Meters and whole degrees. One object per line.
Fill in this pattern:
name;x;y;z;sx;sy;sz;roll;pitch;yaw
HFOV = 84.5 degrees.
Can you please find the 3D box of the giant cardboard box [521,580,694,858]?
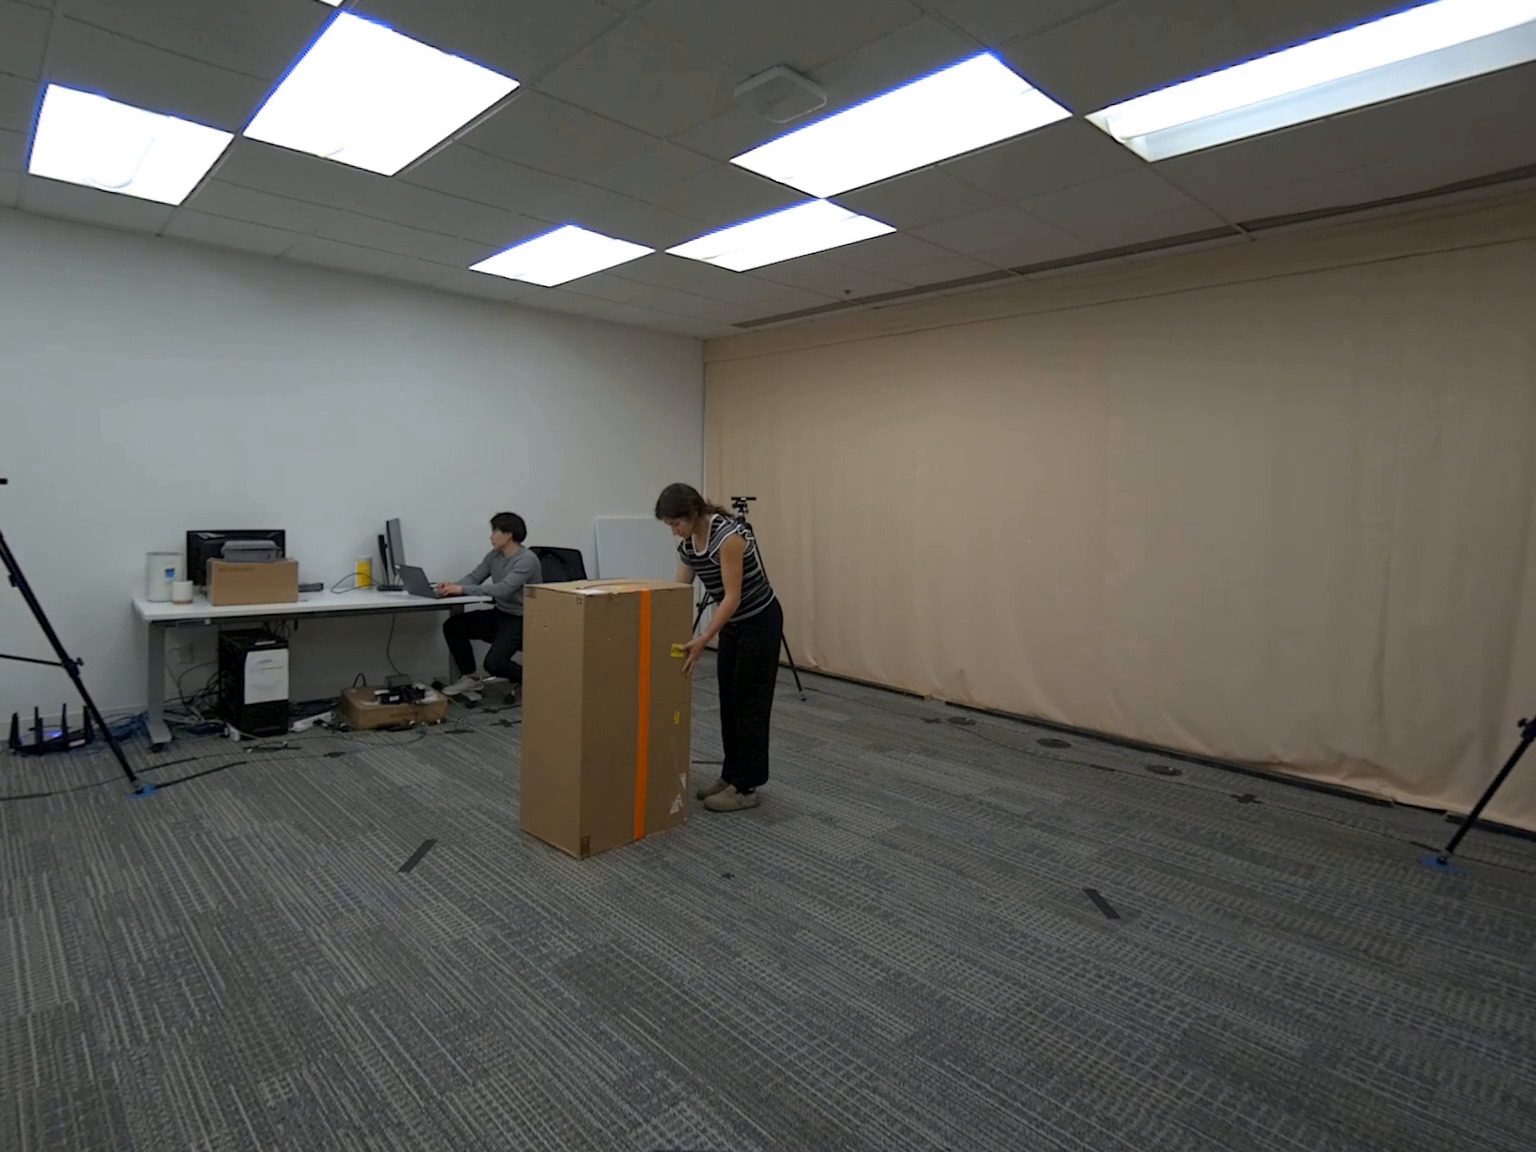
giant cardboard box;-0.680;0.550;3.530;0.437;1.023;0.564;4;4;42
